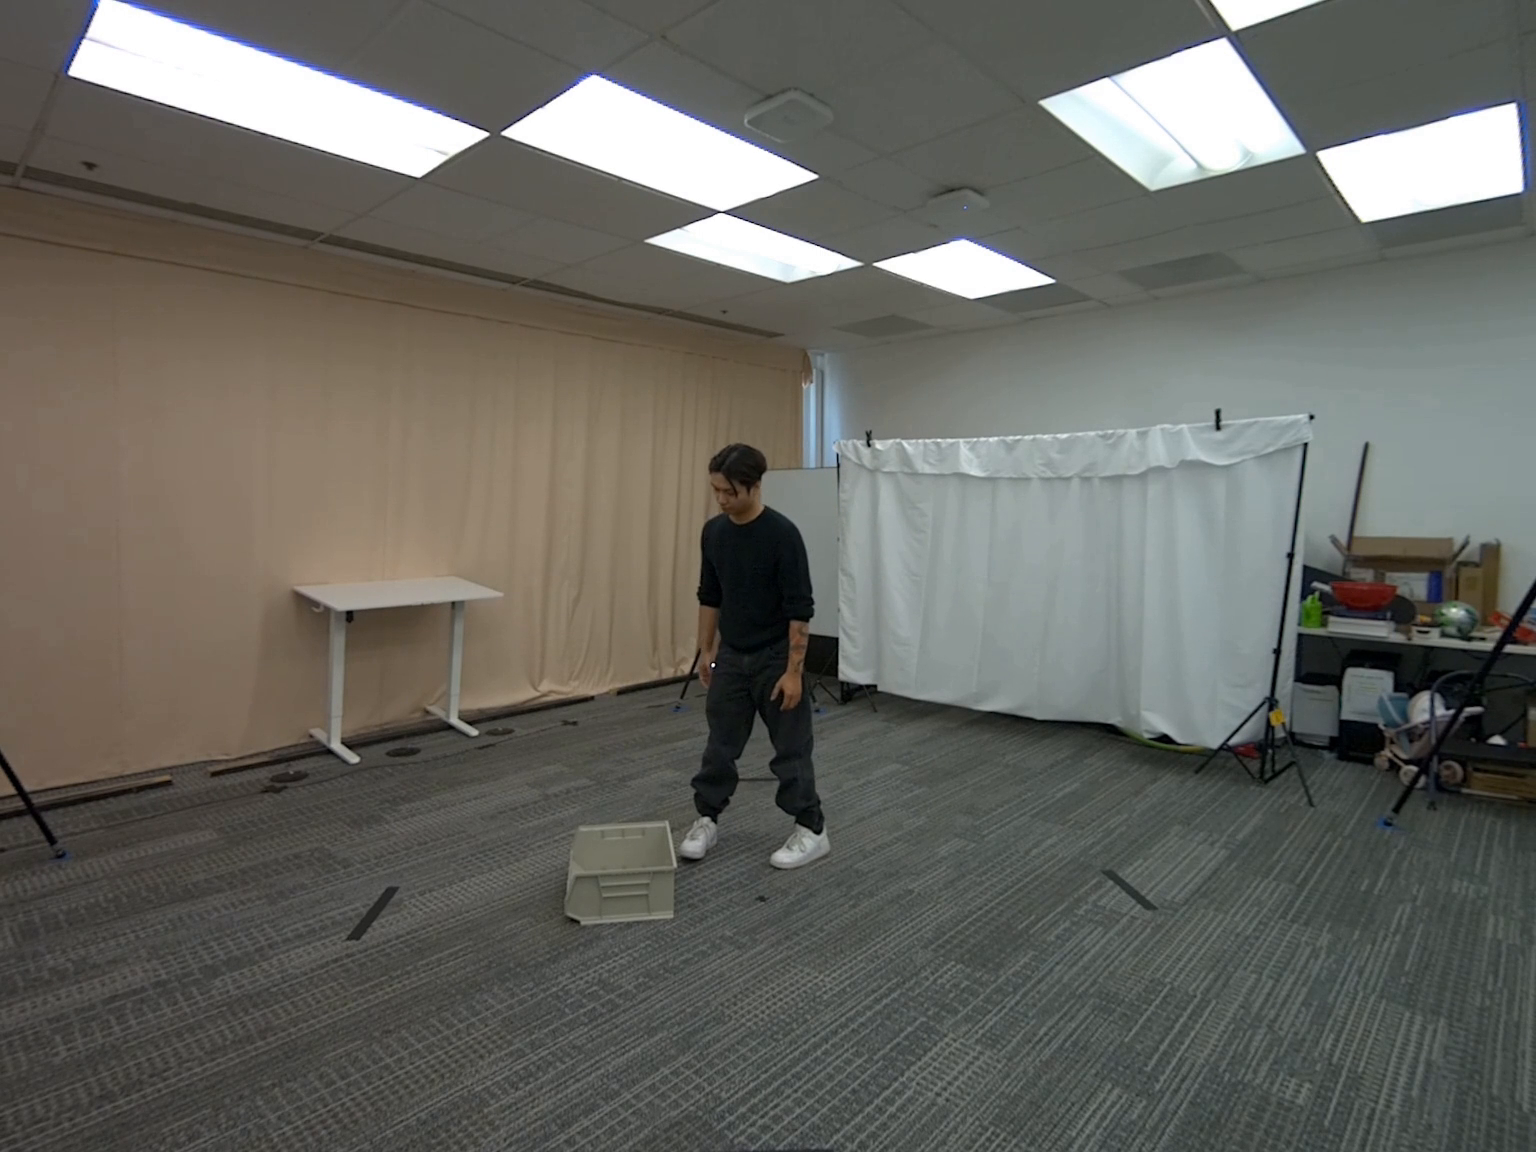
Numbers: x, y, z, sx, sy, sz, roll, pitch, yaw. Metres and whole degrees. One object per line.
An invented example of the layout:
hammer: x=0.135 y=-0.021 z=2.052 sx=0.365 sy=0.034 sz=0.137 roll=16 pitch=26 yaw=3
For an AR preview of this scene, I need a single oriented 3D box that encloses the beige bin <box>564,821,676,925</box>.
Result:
beige bin: x=-0.543 y=1.071 z=3.020 sx=0.374 sy=0.188 sz=0.427 roll=0 pitch=4 yaw=-9
